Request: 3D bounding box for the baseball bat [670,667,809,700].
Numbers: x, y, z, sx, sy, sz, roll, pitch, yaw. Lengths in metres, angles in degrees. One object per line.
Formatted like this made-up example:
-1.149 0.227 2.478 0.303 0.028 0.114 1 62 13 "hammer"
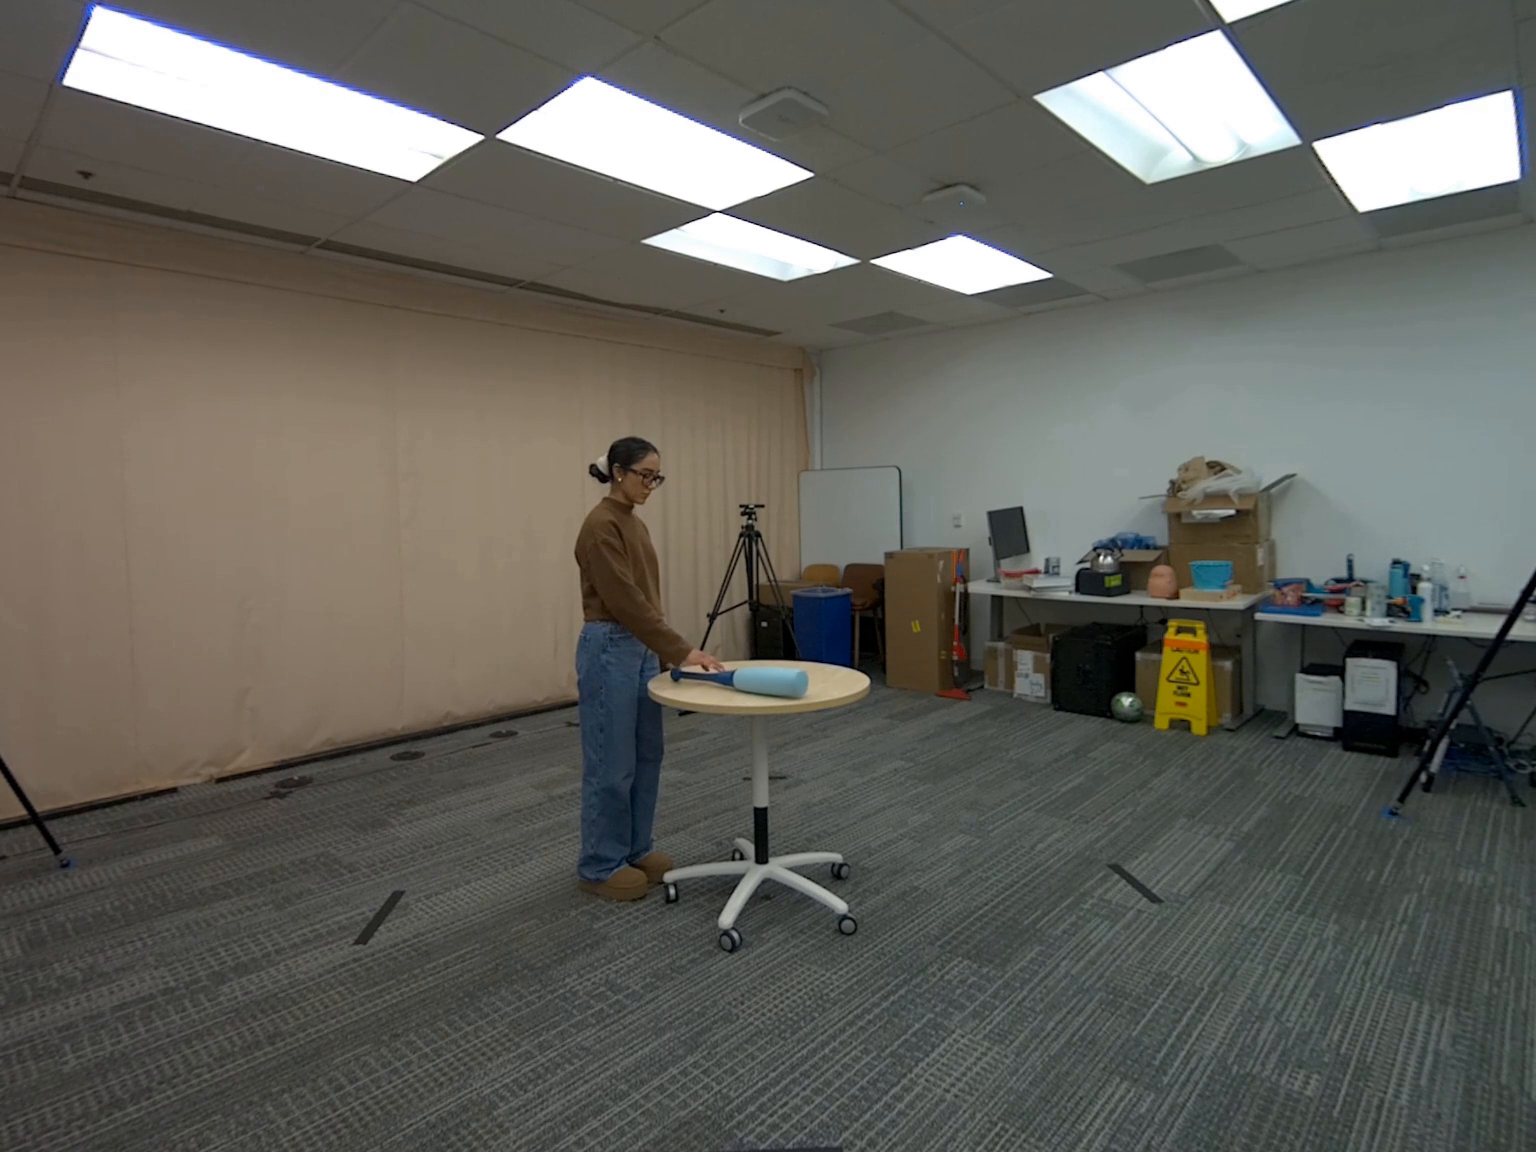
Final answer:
-0.108 0.341 2.767 0.559 0.089 0.086 -2 2 37 "baseball bat"
